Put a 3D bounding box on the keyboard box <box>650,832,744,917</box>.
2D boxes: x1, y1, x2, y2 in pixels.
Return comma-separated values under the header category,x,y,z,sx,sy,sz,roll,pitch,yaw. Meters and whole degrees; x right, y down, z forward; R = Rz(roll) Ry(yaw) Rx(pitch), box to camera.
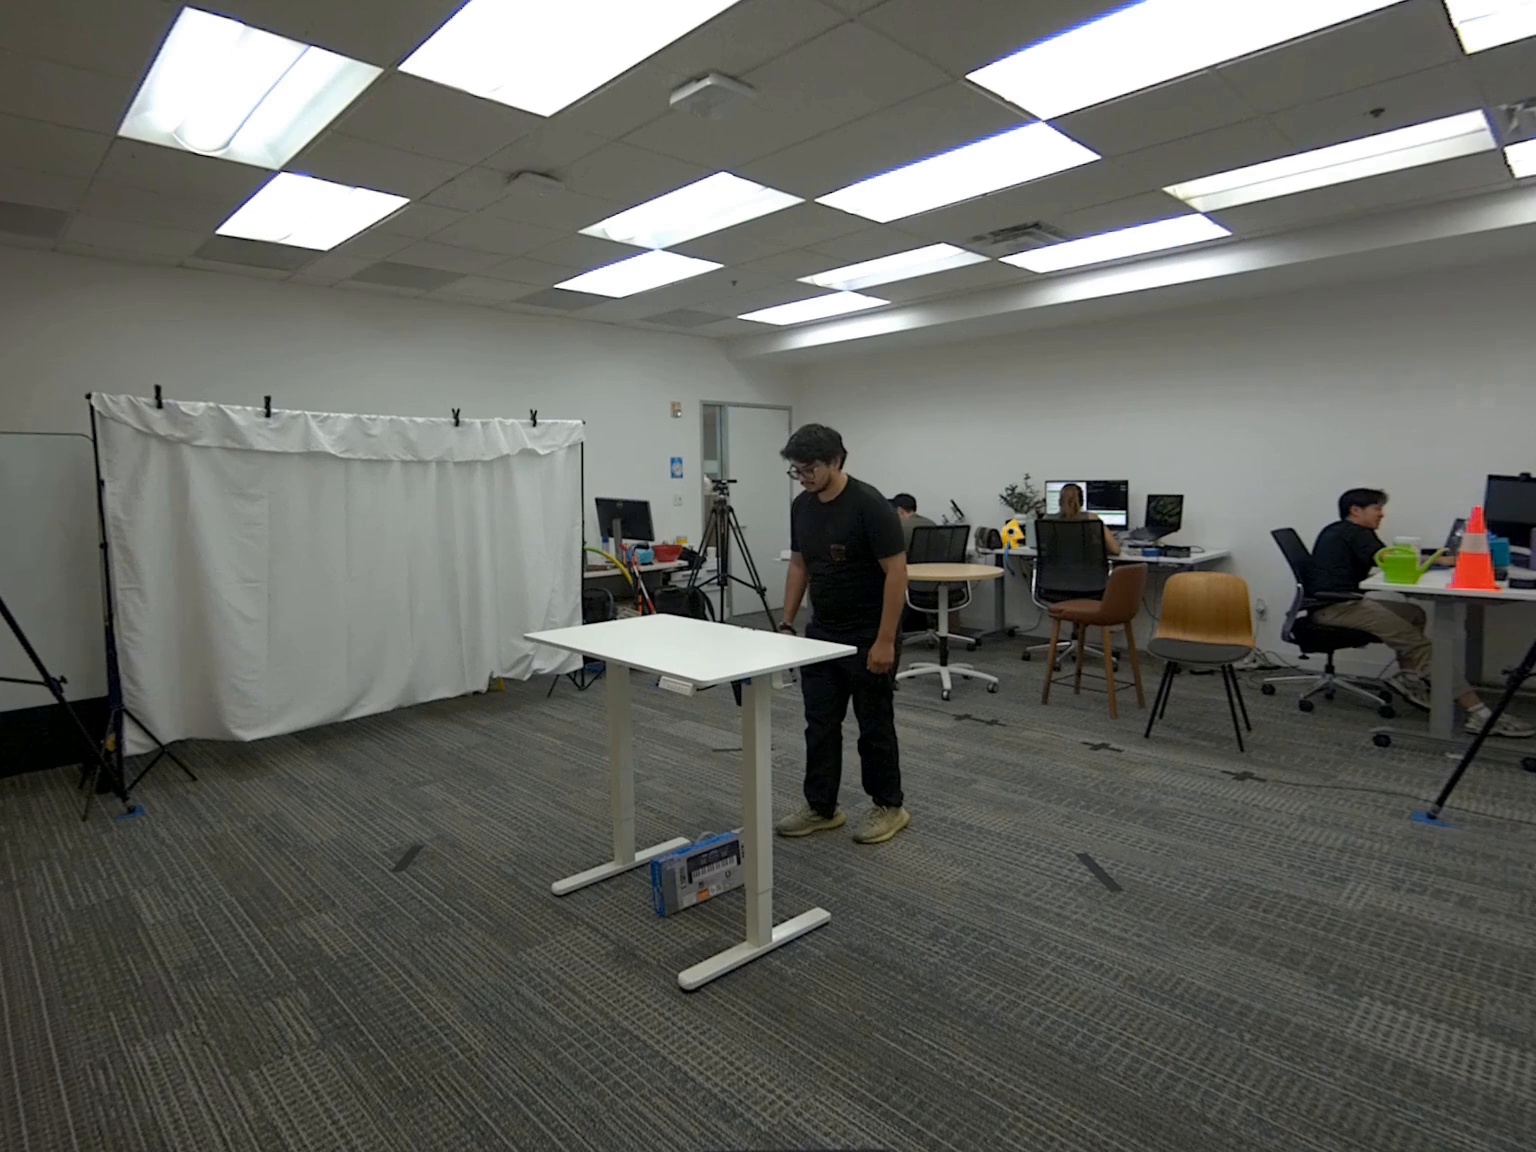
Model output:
category,x,y,z,sx,sy,sz,roll,pitch,yaw
keyboard box,-0.192,0.988,2.890,0.425,0.176,0.060,-6,-1,-40
